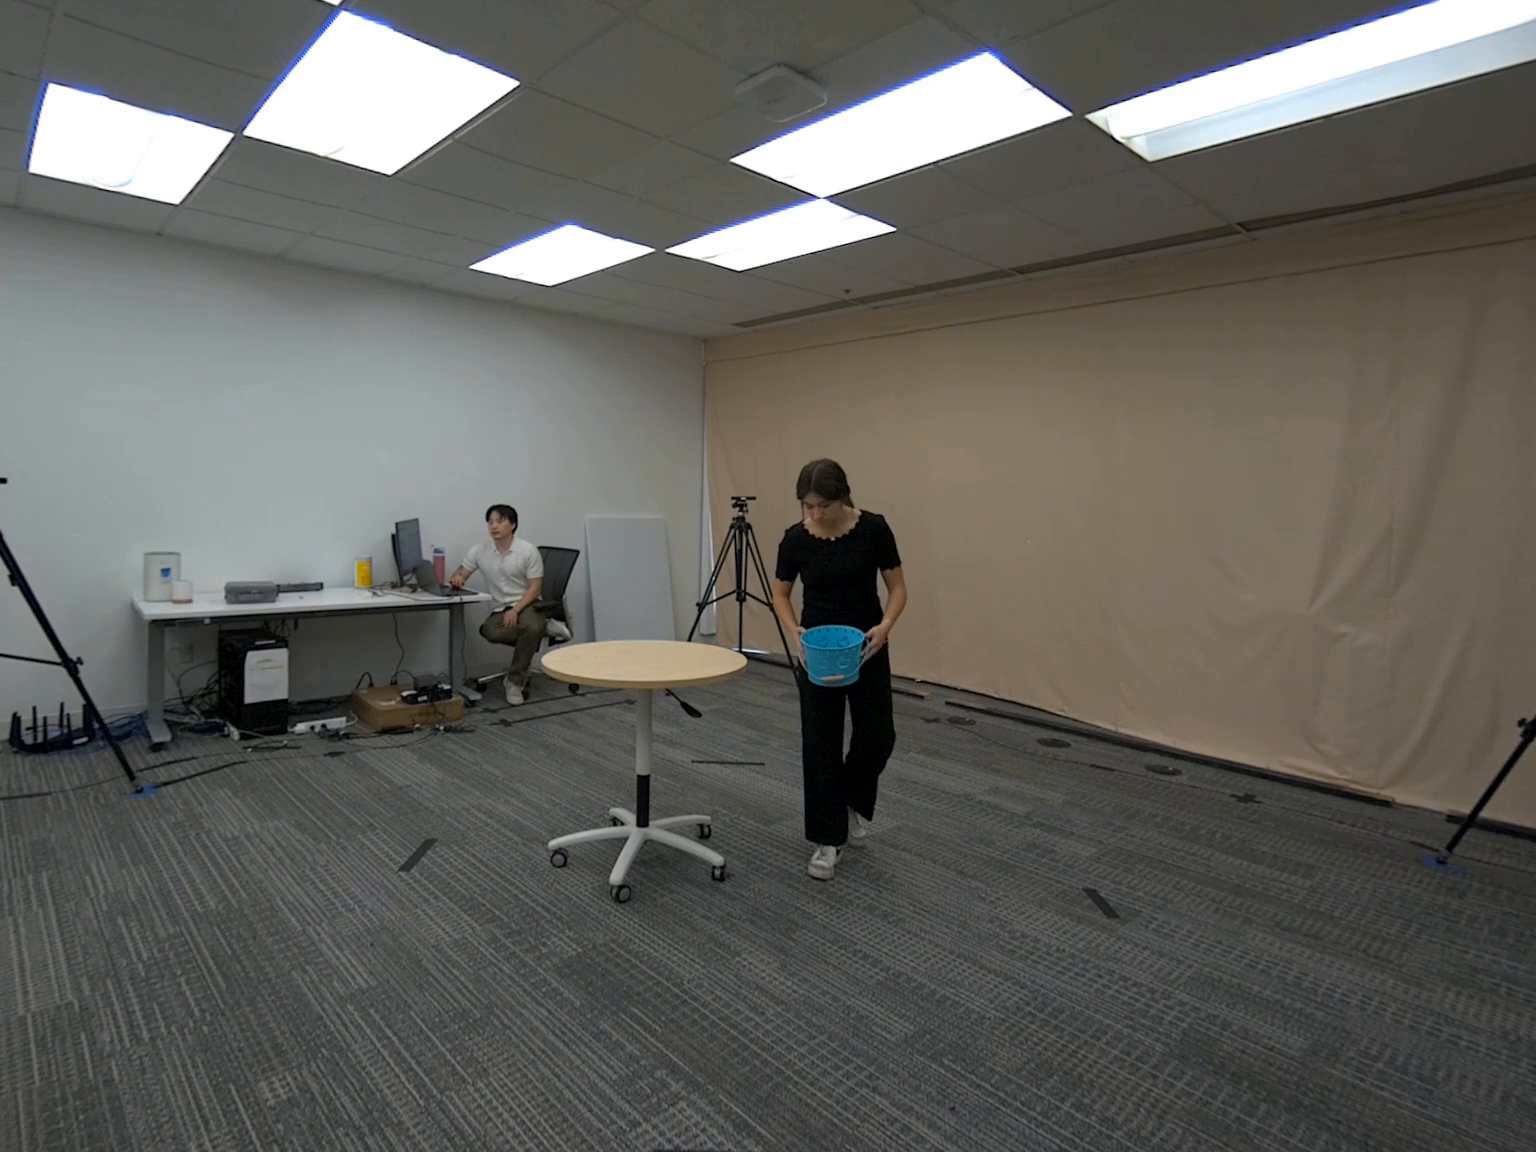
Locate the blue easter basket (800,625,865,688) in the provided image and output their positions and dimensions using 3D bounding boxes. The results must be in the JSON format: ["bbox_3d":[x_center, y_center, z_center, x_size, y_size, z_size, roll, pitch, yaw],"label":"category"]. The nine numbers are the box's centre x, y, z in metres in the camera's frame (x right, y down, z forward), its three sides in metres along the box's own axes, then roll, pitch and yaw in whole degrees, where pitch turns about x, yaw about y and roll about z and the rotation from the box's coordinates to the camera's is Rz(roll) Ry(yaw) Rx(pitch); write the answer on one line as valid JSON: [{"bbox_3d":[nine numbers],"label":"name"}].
[{"bbox_3d":[0.218,0.300,3.017,0.243,0.154,0.246,-2,15,-1],"label":"blue easter basket"}]
